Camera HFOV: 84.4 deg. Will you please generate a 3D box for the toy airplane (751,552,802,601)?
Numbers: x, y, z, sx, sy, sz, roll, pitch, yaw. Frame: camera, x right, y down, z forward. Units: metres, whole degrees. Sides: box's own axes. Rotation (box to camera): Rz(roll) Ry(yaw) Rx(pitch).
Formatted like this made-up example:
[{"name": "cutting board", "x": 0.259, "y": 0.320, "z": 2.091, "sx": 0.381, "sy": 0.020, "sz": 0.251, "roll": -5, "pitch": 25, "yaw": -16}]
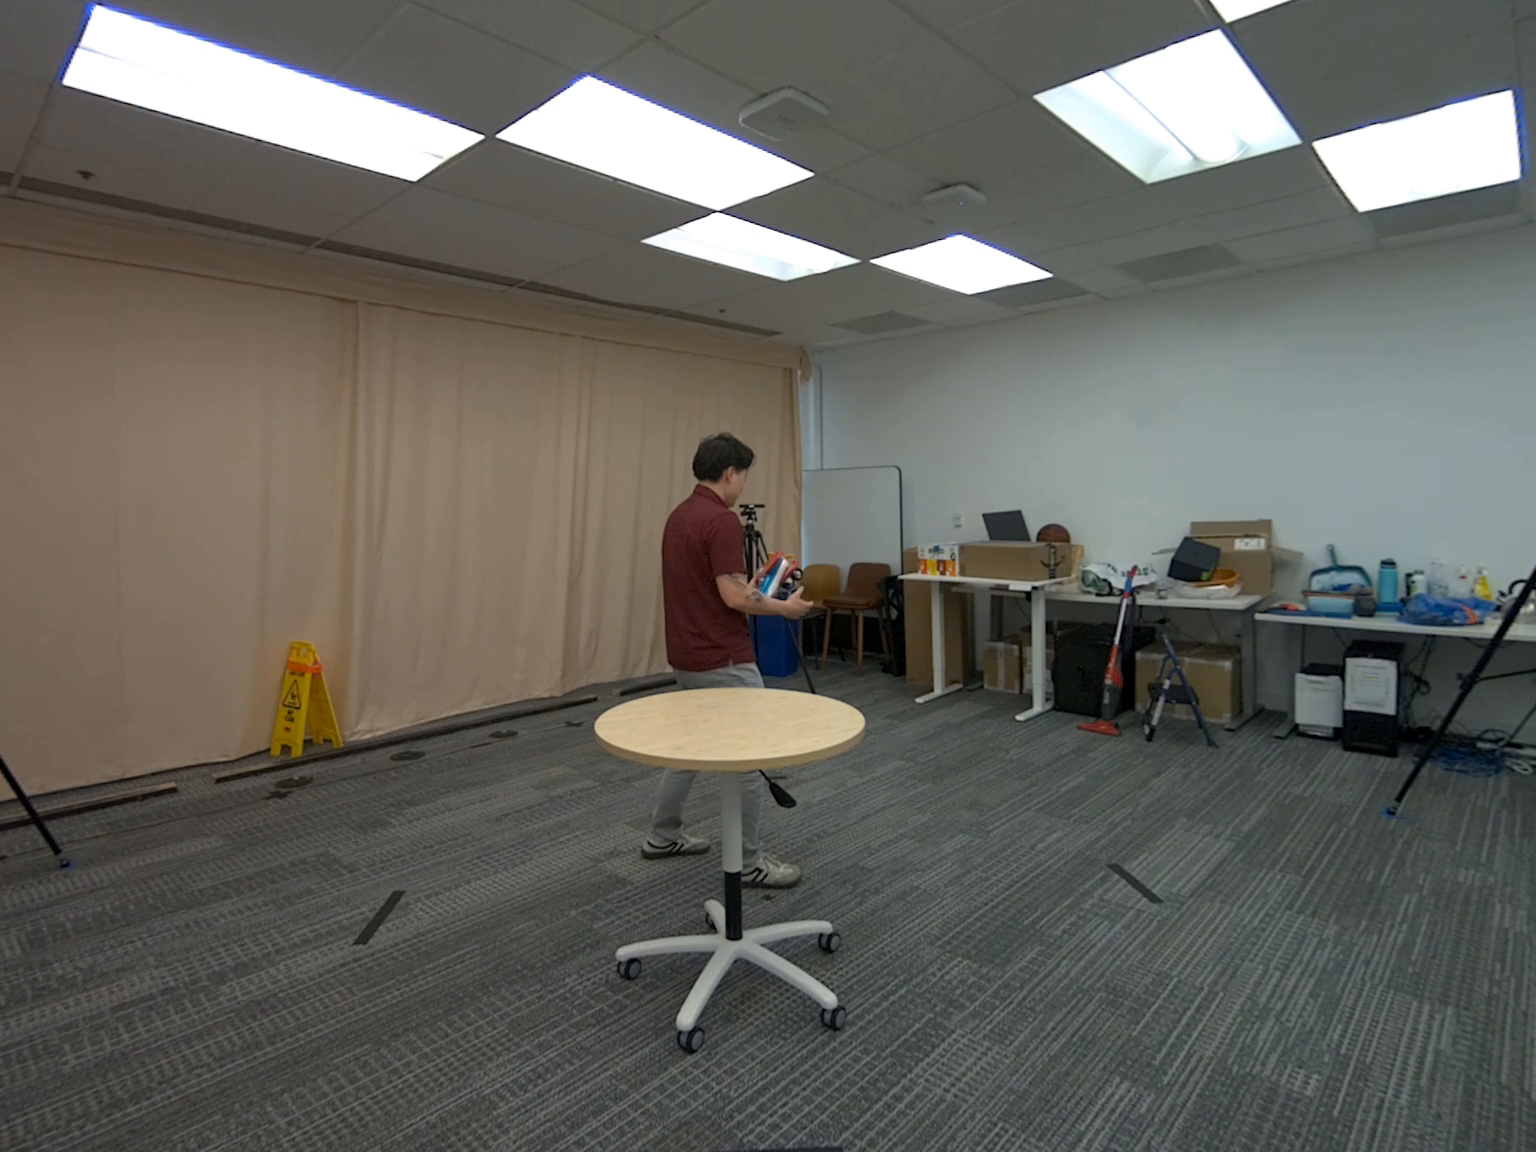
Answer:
[{"name": "toy airplane", "x": 0.032, "y": 0.013, "z": 3.507, "sx": 0.252, "sy": 0.157, "sz": 0.256, "roll": -48, "pitch": -3, "yaw": 26}]
